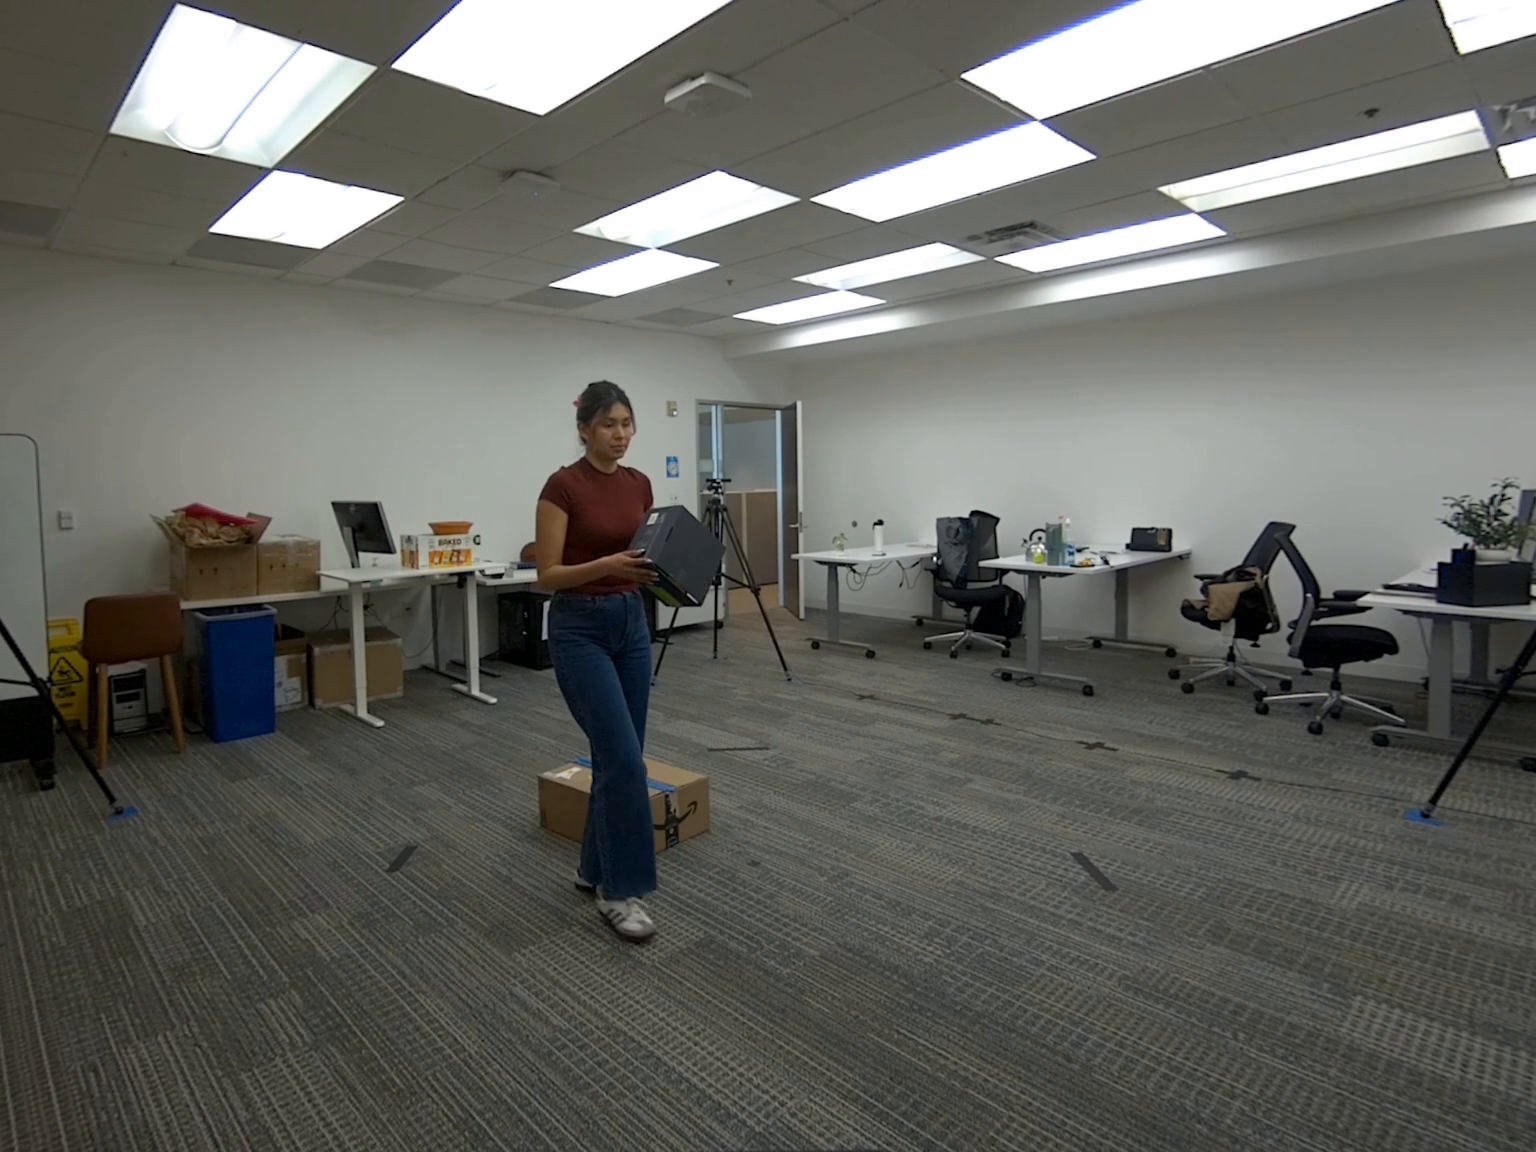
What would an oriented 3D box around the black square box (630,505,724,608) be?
[{"bbox_3d":[-0.283,-0.054,2.569,0.160,0.219,0.219,-5,-38,42],"label":"black square box"}]
